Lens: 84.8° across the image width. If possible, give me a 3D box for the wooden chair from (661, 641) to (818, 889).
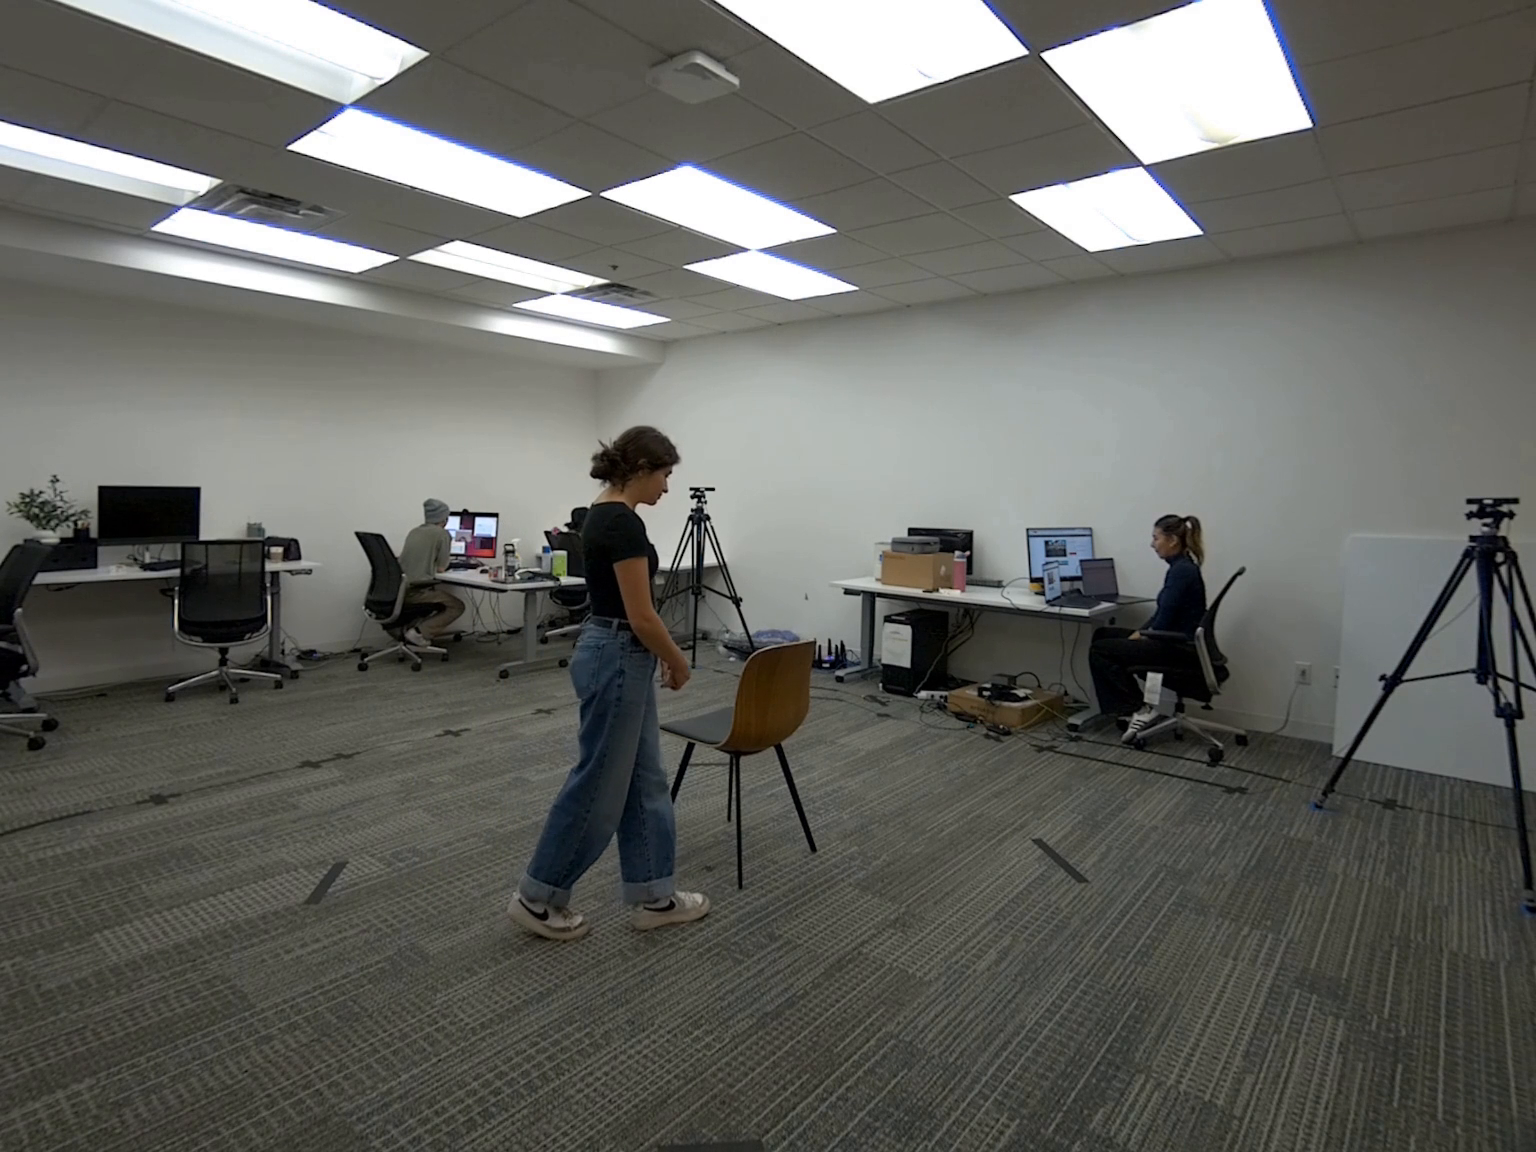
[{"bbox_3d":[-0.133,0.628,3.240,0.542,0.873,0.464,10,8,40],"label":"wooden chair"}]
